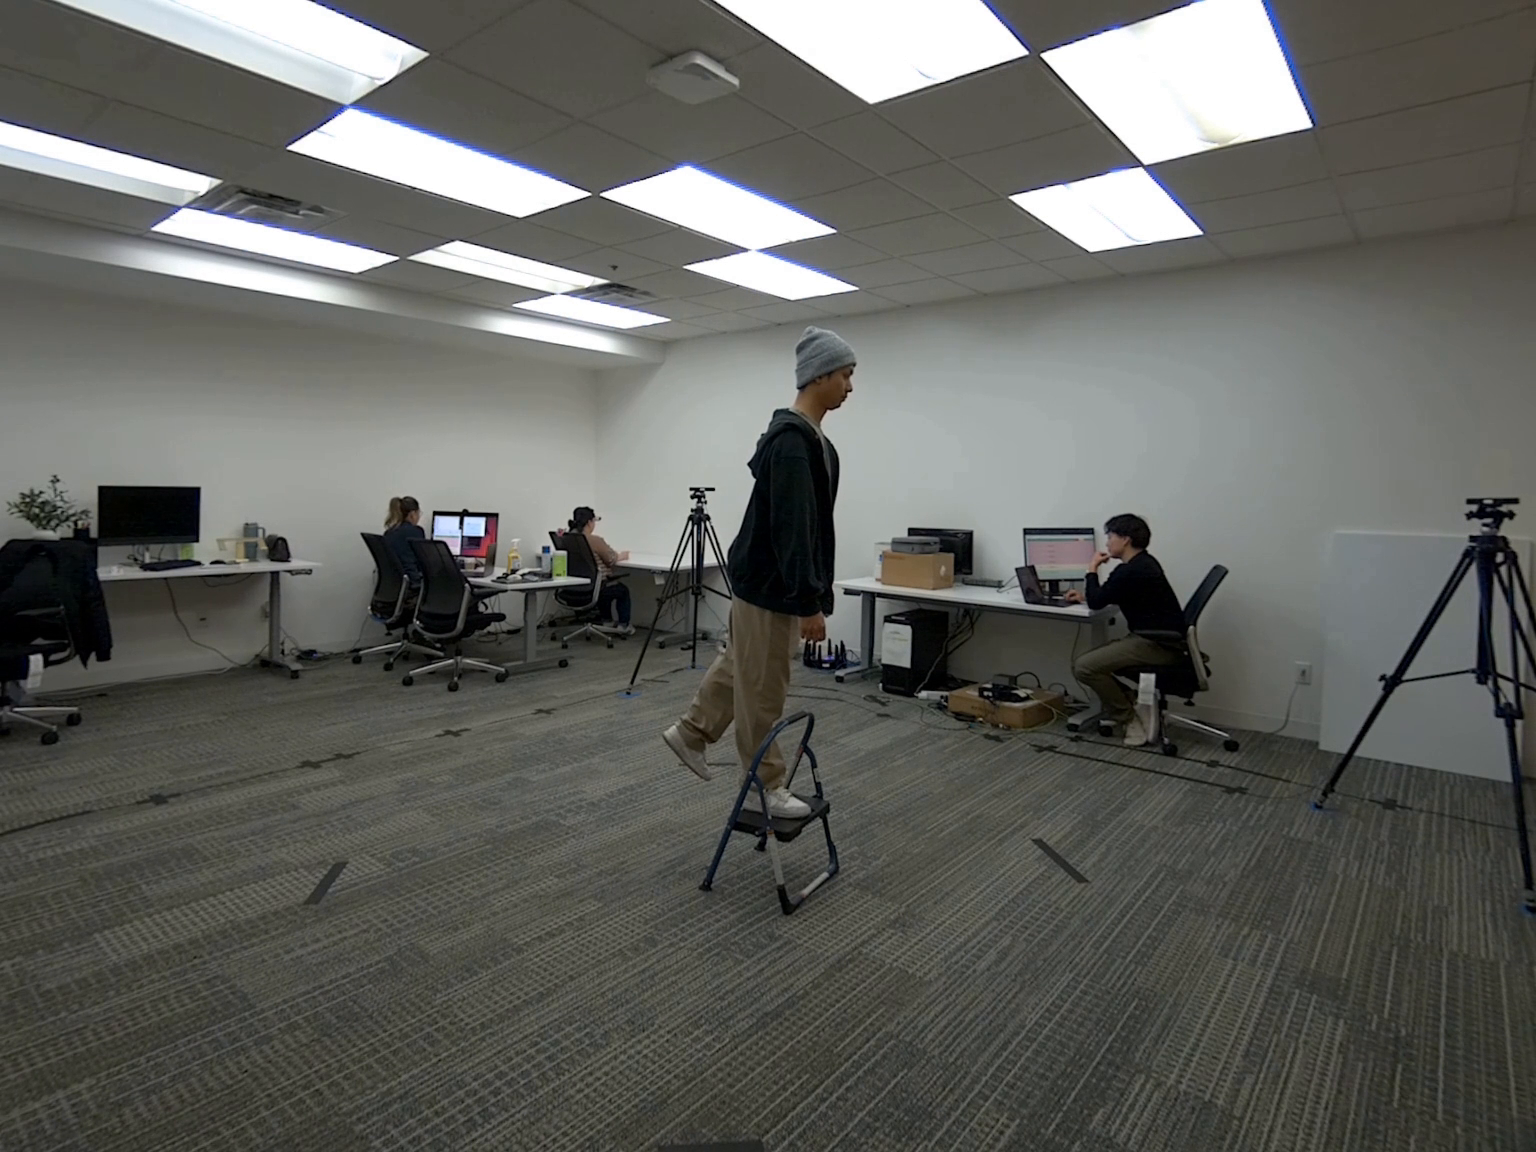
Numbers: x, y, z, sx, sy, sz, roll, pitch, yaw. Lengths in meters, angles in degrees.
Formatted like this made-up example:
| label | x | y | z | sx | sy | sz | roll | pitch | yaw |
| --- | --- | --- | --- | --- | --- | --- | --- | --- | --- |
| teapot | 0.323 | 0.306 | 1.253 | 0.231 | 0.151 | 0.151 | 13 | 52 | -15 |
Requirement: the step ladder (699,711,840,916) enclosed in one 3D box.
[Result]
| label | x | y | z | sx | sy | sz | roll | pitch | yaw |
| --- | --- | --- | --- | --- | --- | --- | --- | --- | --- |
| step ladder | 0.015 | 0.778 | 3.018 | 0.359 | 0.604 | 0.420 | 3 | 4 | 29 |
